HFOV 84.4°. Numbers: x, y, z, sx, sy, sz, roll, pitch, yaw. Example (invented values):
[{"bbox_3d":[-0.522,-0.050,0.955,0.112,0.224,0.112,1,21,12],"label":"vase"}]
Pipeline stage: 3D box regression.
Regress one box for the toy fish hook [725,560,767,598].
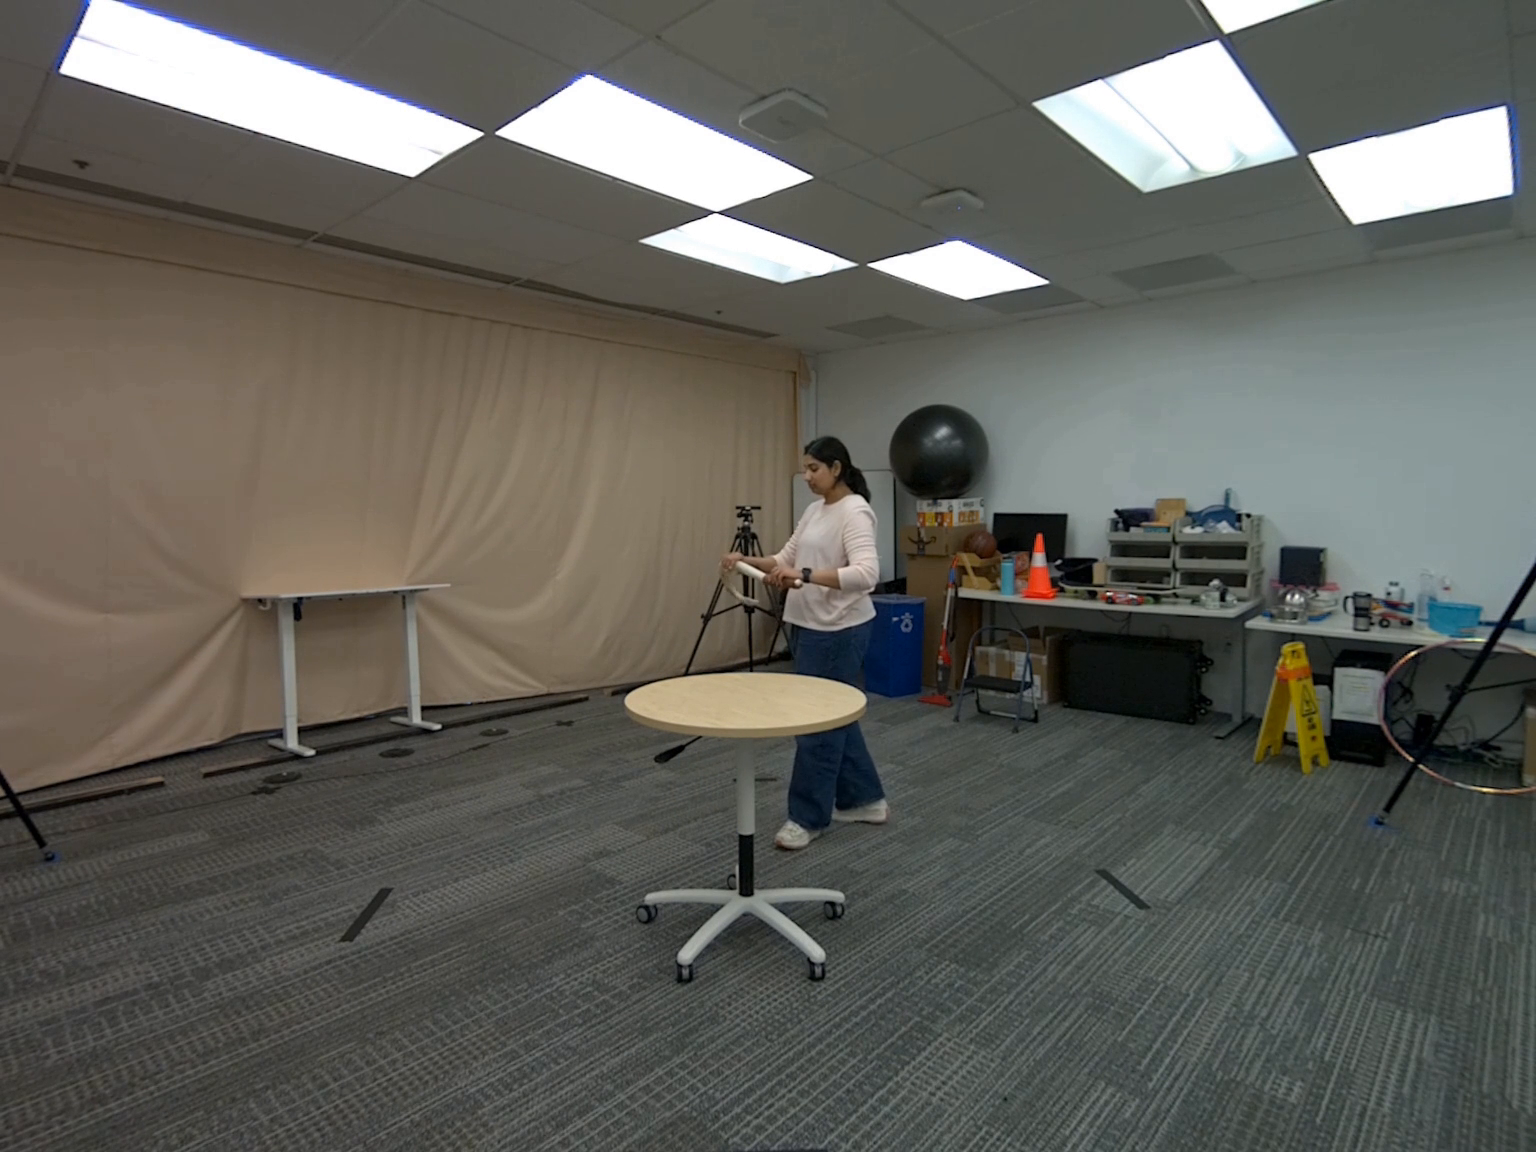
[{"bbox_3d":[-0.016,0.043,3.506,0.525,0.219,0.048,13,44,47],"label":"toy fish hook"}]
